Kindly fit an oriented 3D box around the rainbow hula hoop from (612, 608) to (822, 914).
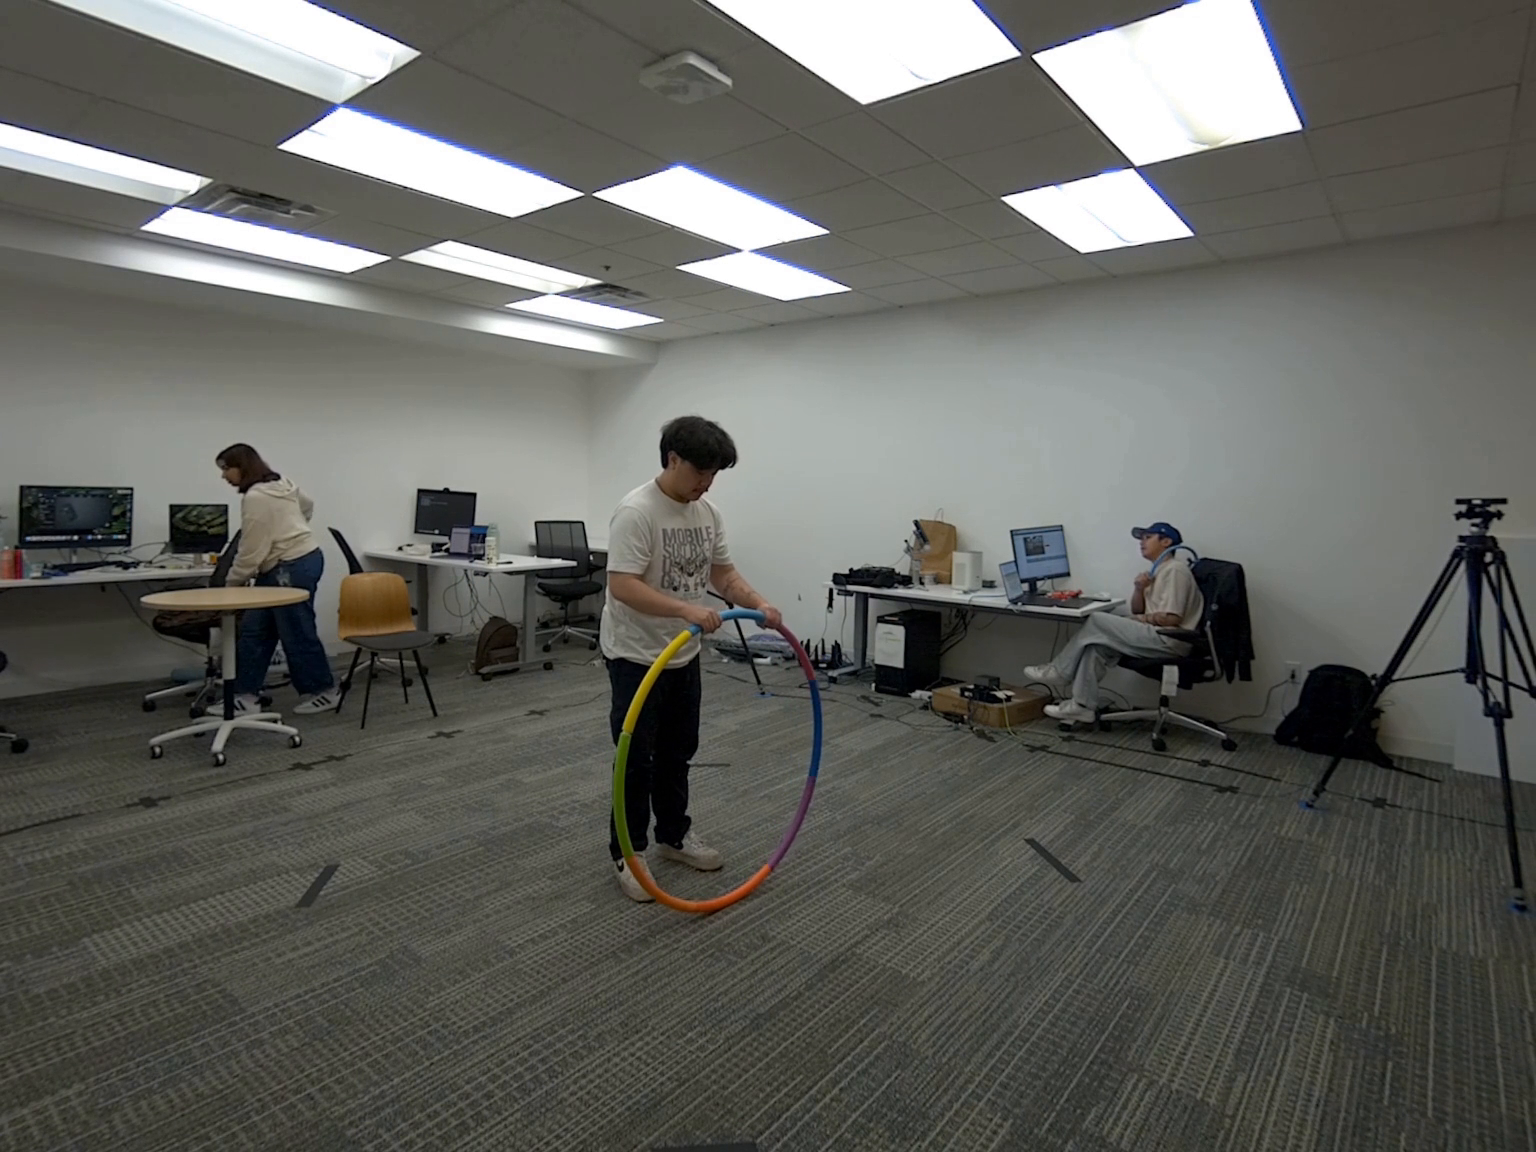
[{"bbox_3d":[-0.136,0.607,2.826,0.053,0.983,0.956,1,3,44],"label":"rainbow hula hoop"}]
